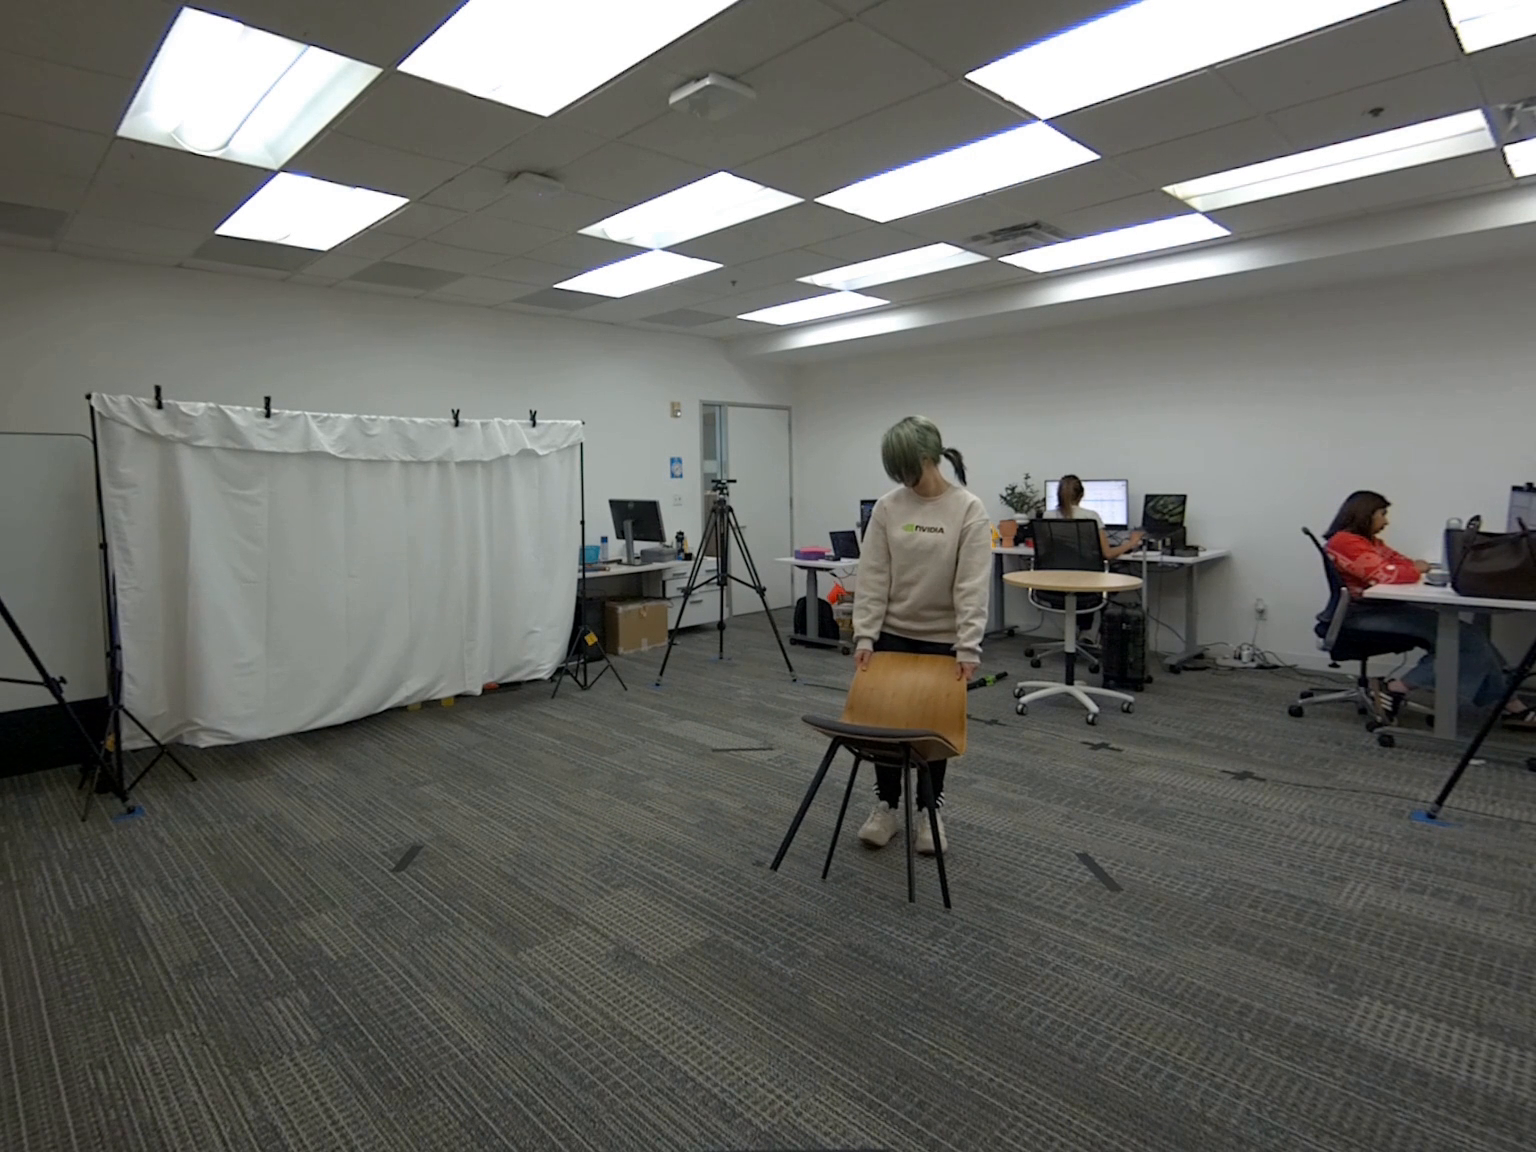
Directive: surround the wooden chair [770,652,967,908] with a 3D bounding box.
[{"bbox_3d":[0.371,0.585,2.810,0.490,0.889,0.503,1,-25,28],"label":"wooden chair"}]
